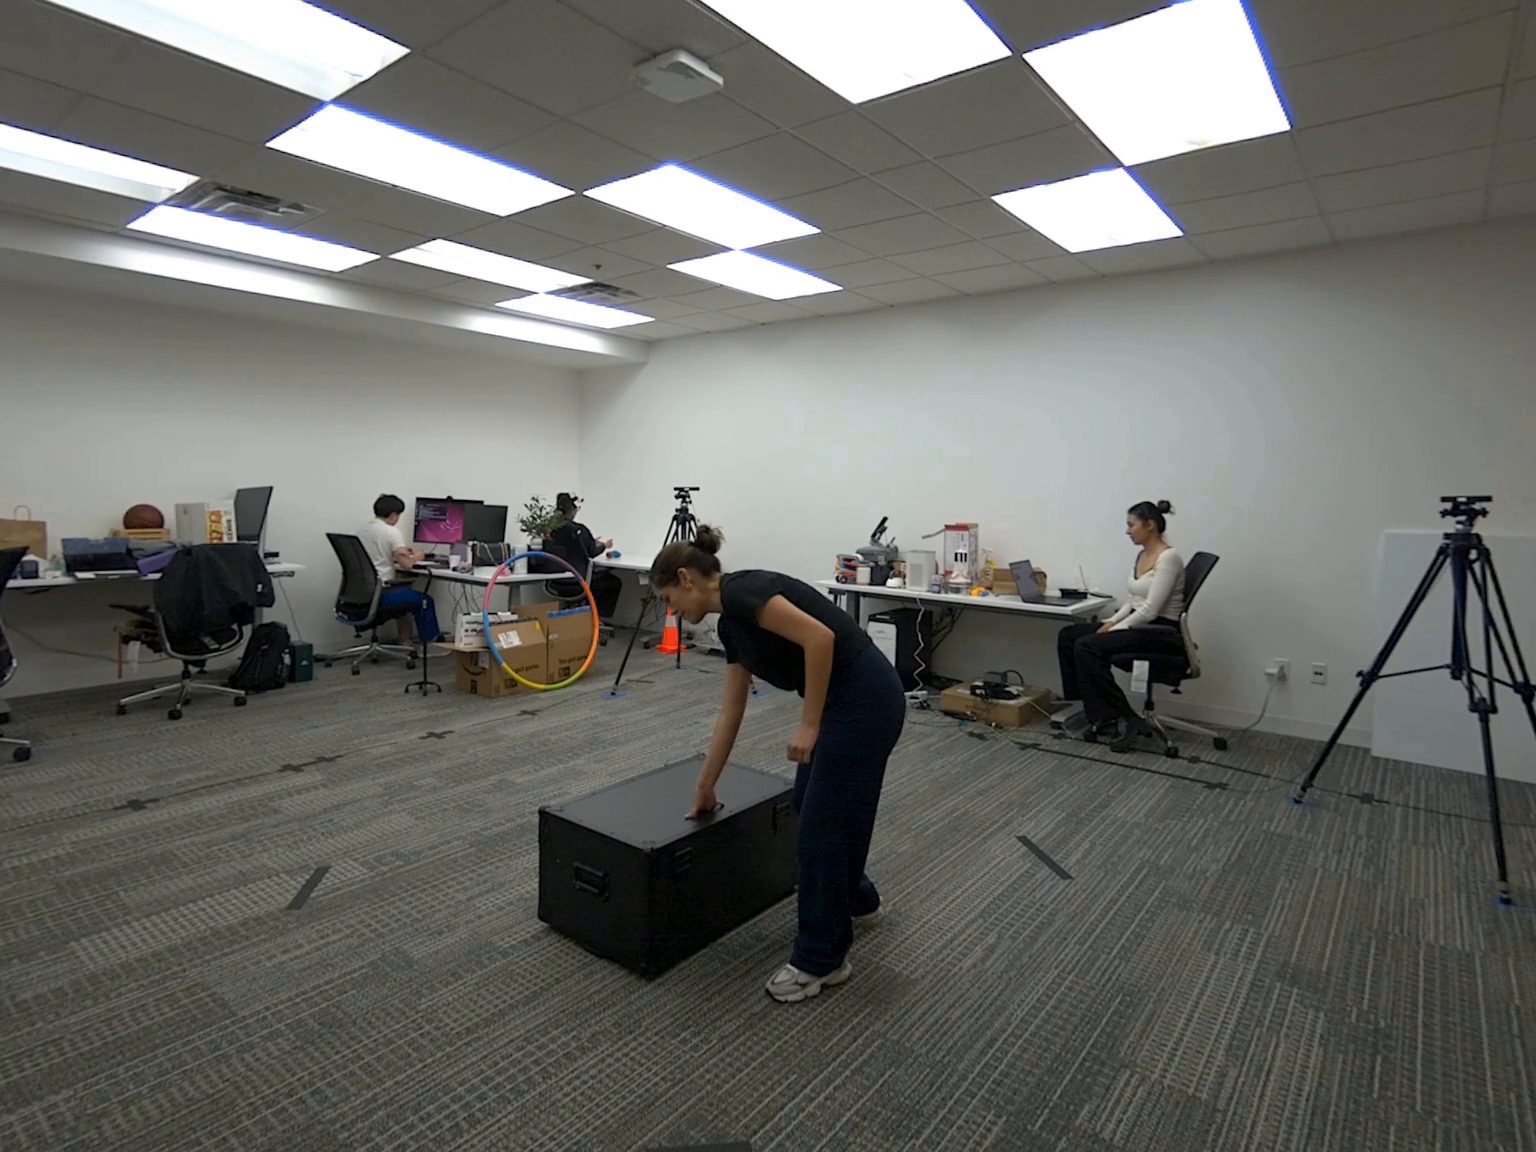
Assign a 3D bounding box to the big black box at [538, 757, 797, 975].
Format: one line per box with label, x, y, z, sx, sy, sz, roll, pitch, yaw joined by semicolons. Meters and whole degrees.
big black box;-0.273;0.884;2.854;0.538;0.395;0.836;4;5;38
